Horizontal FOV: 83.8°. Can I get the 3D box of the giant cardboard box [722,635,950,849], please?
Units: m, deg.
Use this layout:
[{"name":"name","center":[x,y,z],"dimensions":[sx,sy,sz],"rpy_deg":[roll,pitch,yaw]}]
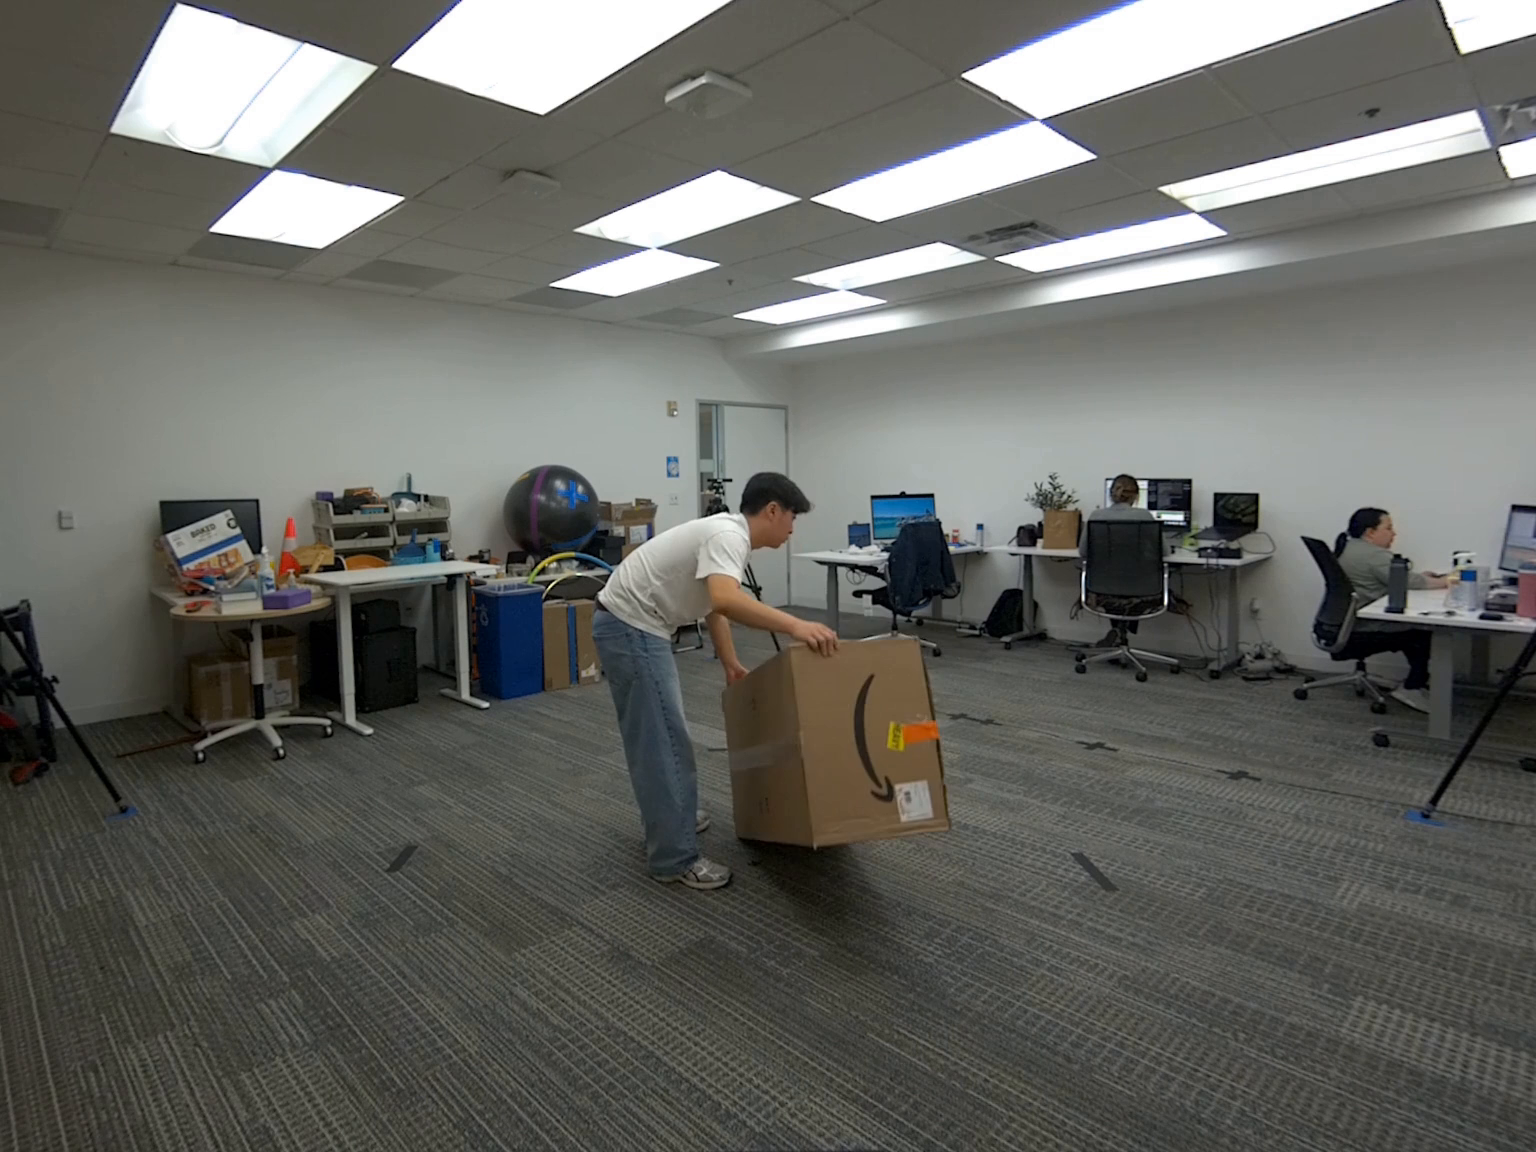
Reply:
[{"name":"giant cardboard box","center":[0.174,0.606,2.977],"dimensions":[0.421,0.587,1.023],"rpy_deg":[-3,-15,-15]}]
